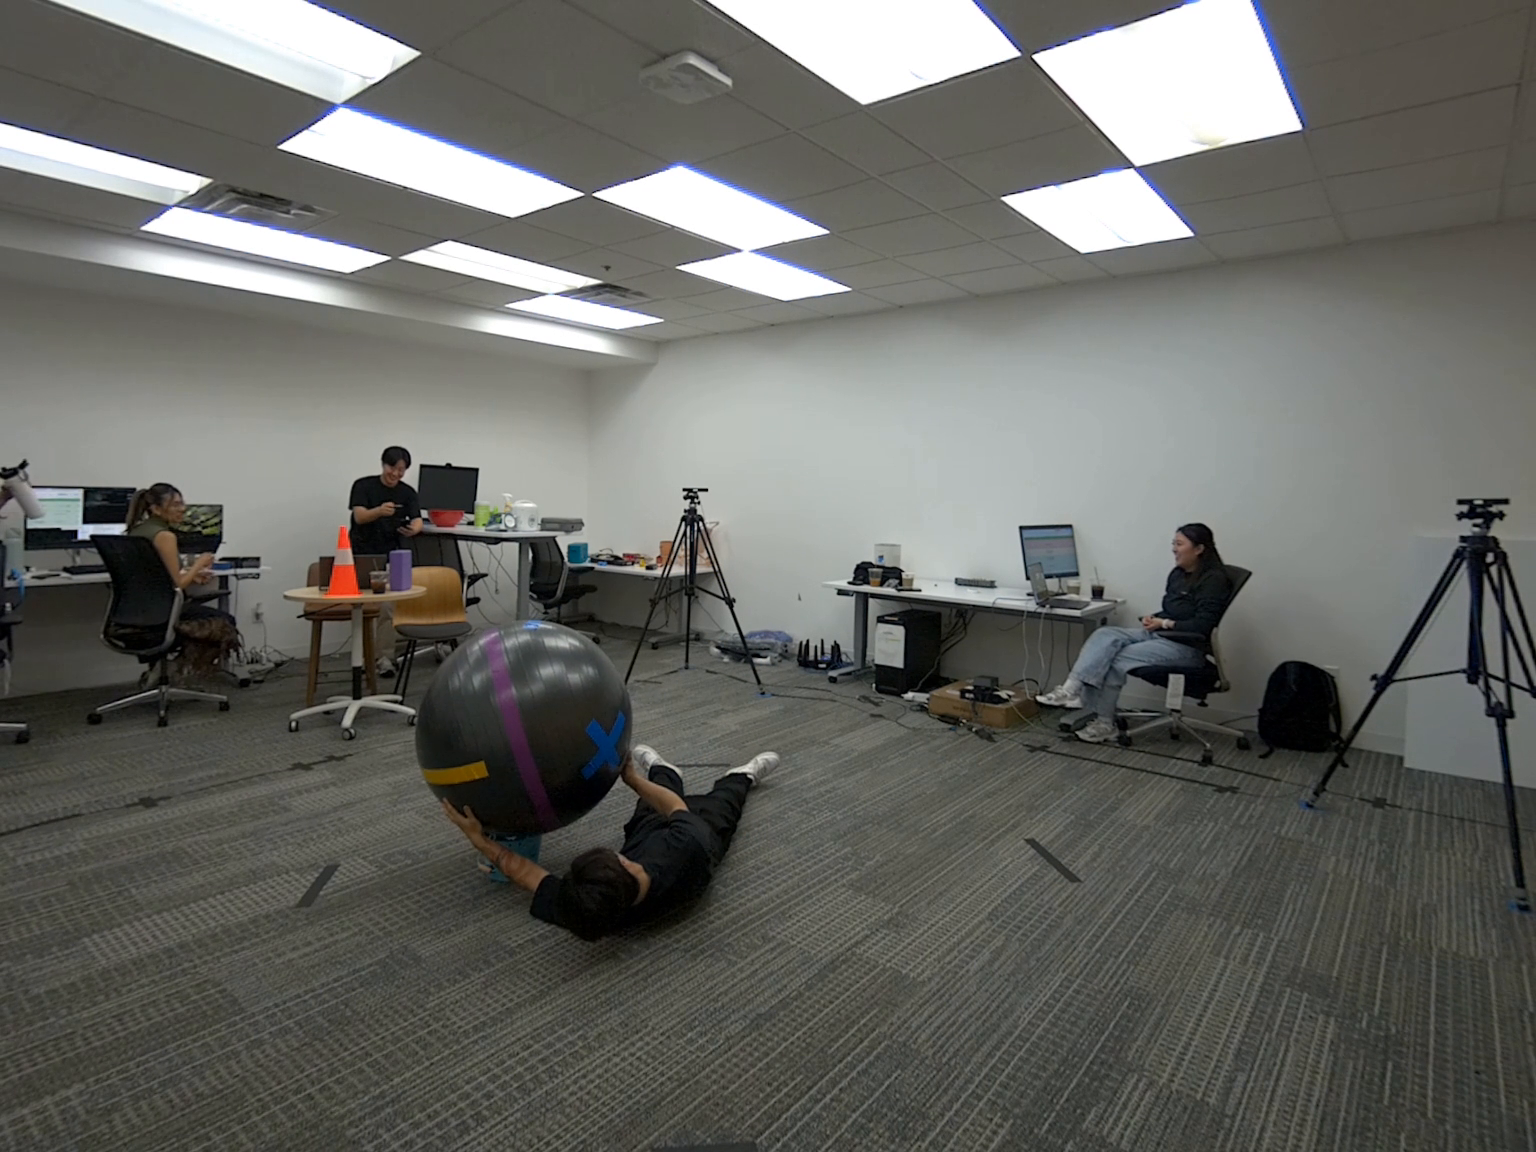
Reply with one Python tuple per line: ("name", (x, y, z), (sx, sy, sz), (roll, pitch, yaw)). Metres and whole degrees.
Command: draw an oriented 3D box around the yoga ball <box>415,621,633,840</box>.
("yoga ball", (-0.882, 0.537, 3.065), (0.757, 0.755, 0.762), (1, 4, -2))
